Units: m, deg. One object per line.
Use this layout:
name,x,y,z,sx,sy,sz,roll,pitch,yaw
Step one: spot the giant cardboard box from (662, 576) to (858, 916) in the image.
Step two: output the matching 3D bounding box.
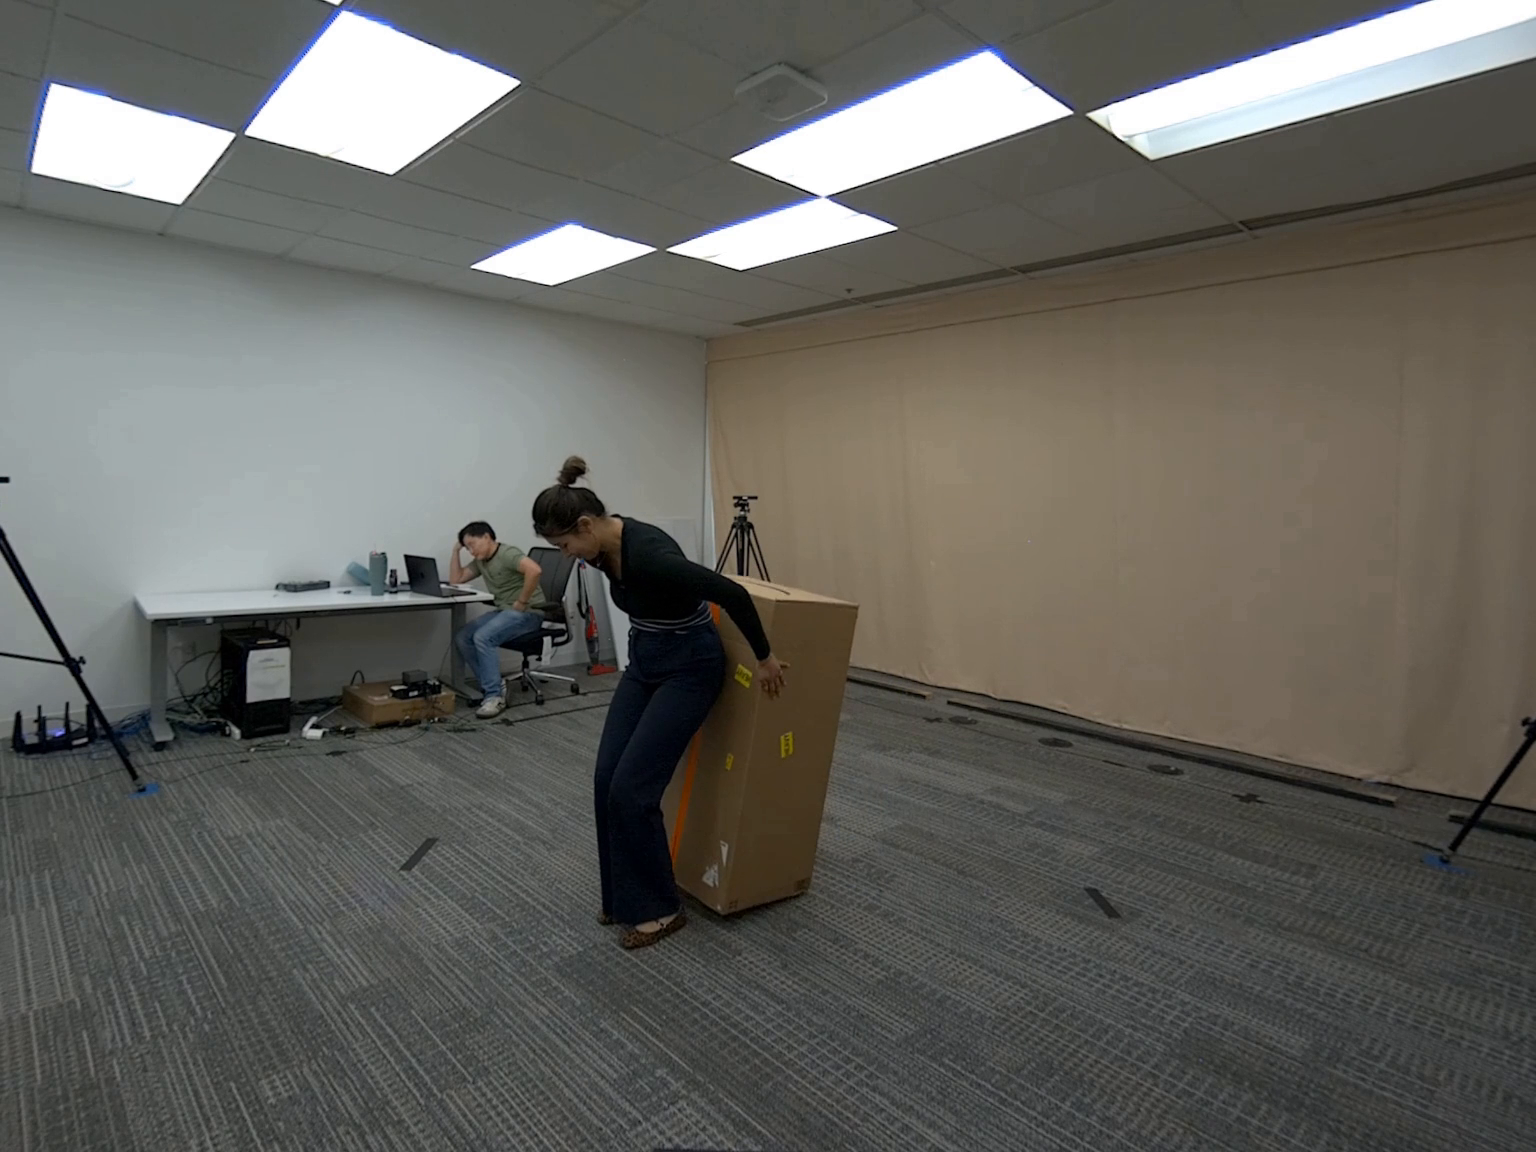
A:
giant cardboard box,-0.108,0.539,3.005,0.415,1.024,0.594,7,4,-44
